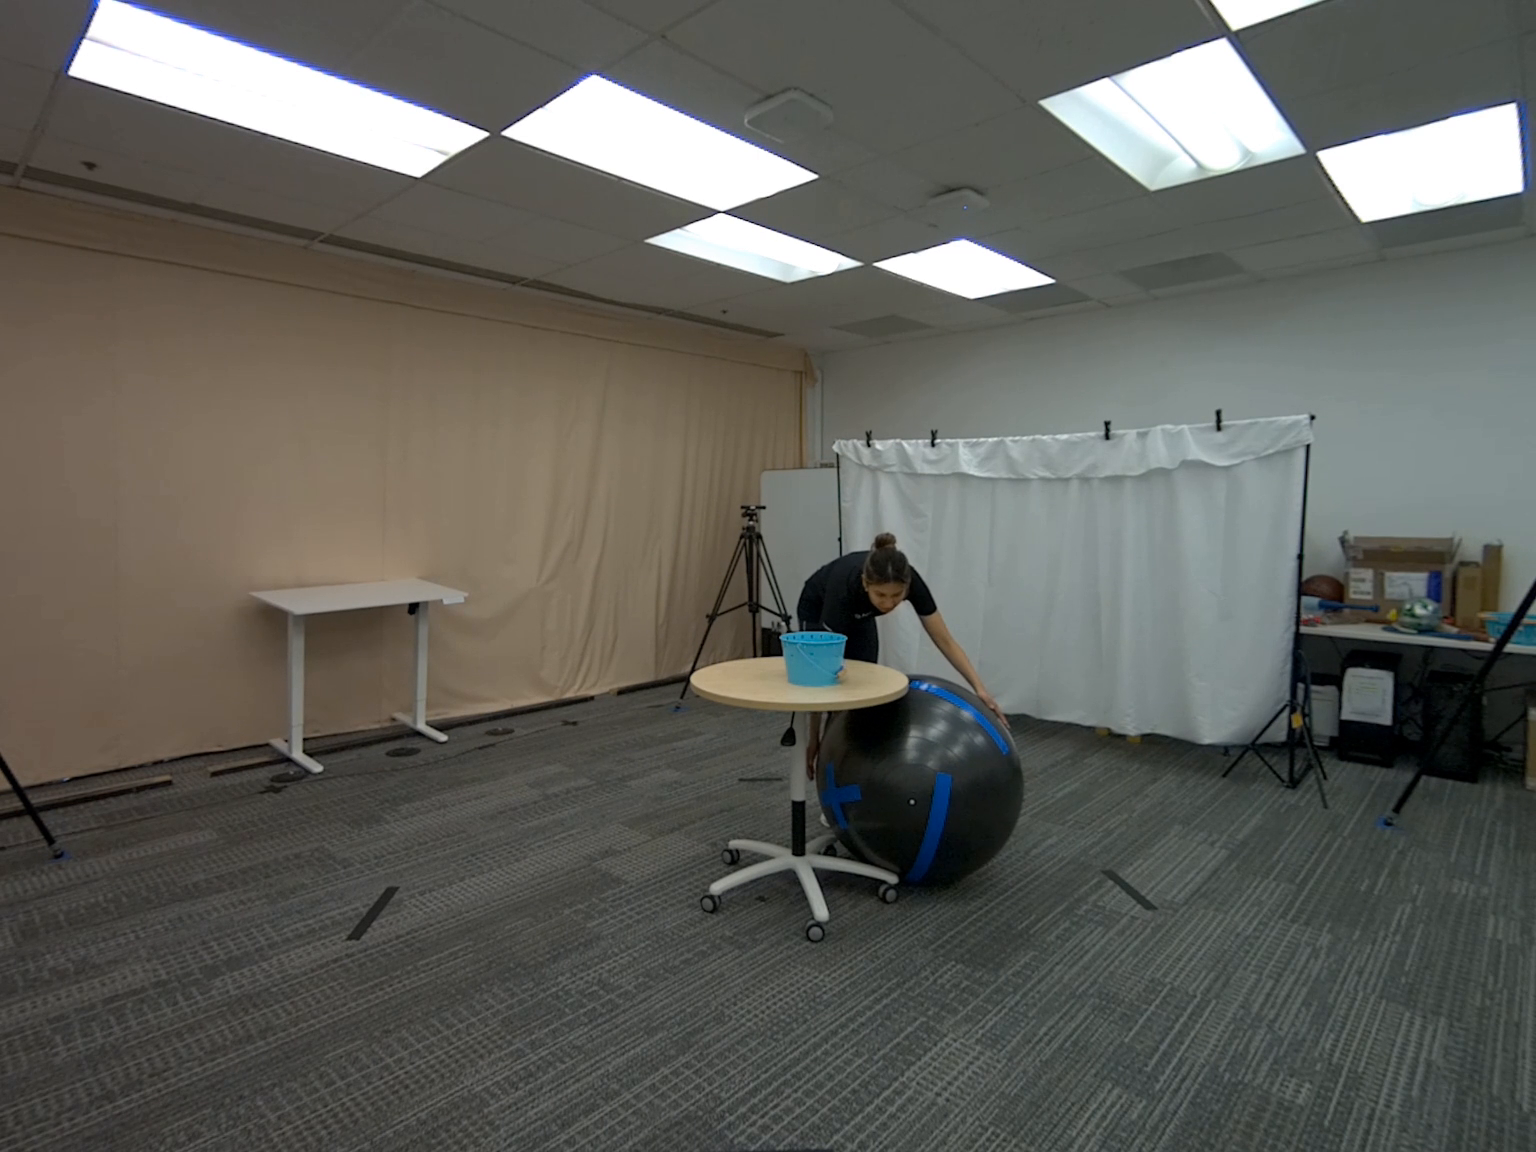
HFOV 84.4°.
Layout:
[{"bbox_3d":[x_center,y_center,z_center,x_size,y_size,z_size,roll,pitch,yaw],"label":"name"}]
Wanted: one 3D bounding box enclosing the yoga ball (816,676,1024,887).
[{"bbox_3d":[0.574,0.761,3.177,0.757,0.756,0.761,0,4,-2],"label":"yoga ball"}]
